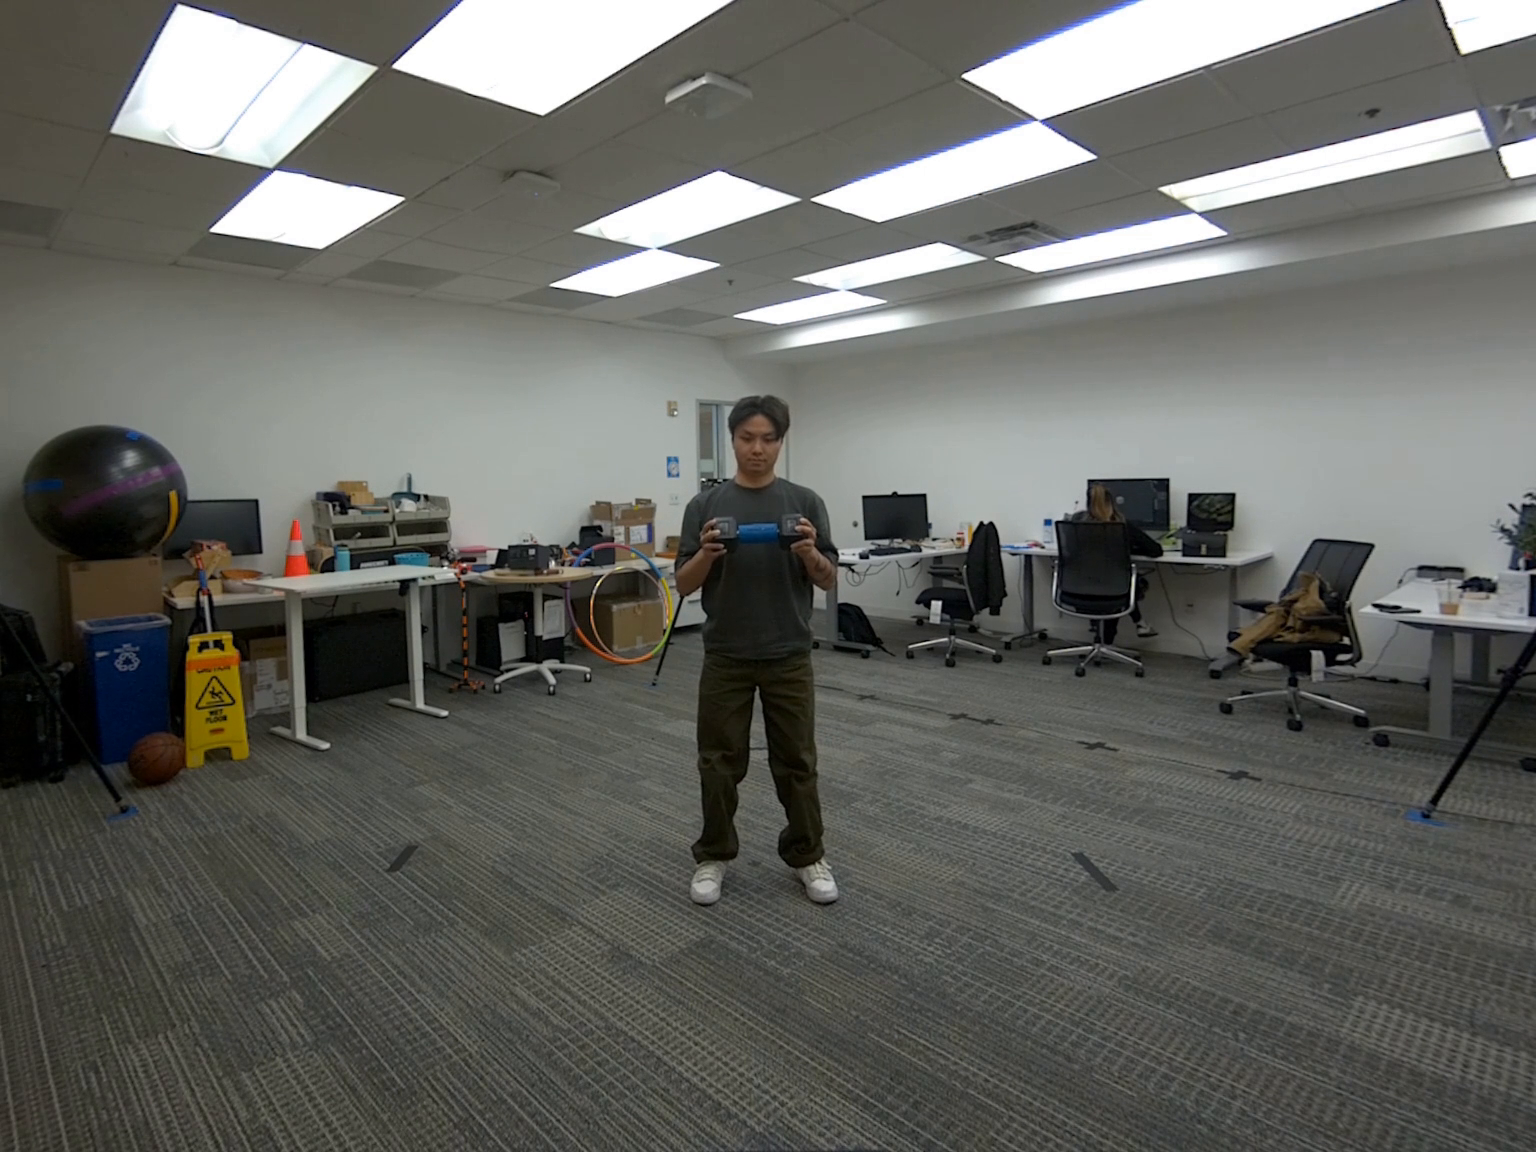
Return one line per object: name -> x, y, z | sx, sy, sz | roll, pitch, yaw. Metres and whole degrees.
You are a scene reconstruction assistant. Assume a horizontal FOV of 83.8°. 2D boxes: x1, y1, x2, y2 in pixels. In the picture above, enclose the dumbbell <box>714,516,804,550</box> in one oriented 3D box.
dumbbell -> -0.045, -0.125, 2.693 | 0.294, 0.119, 0.112 | -5, 42, 2
